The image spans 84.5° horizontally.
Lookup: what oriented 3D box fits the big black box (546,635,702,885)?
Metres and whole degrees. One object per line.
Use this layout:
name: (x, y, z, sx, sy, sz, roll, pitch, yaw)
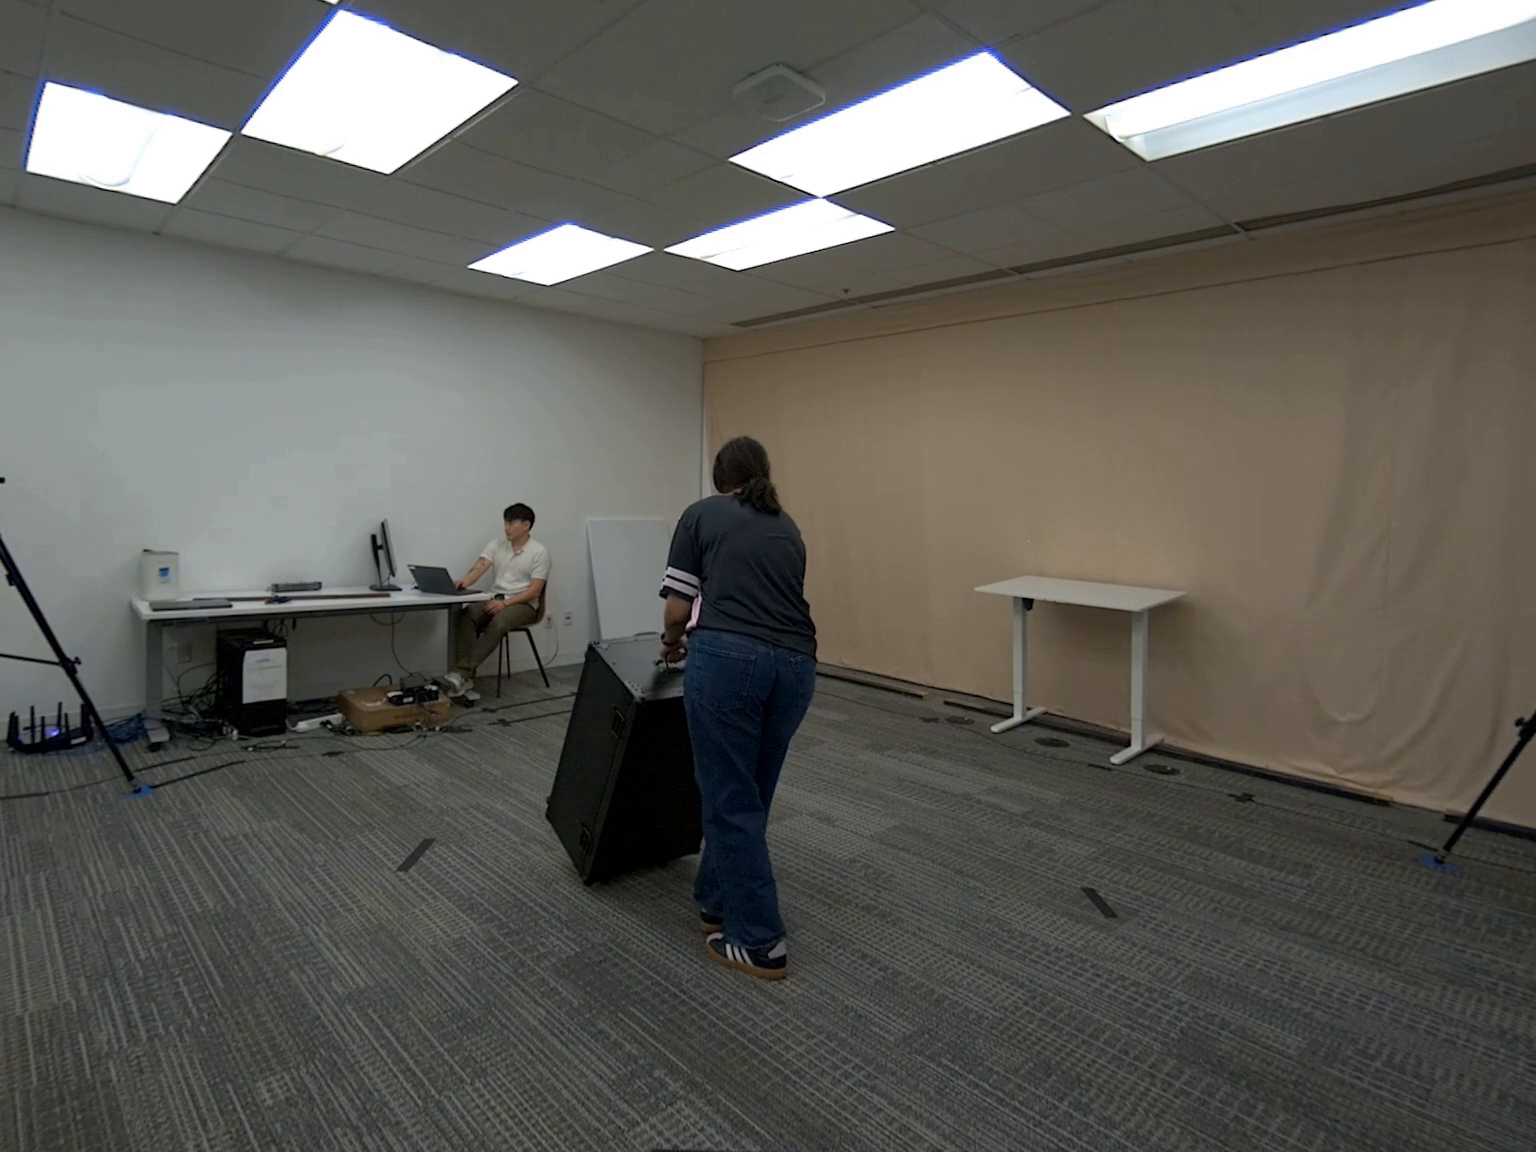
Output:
big black box: (-0.460, 0.668, 3.036, 0.511, 0.860, 0.398, -2, 31, -41)
